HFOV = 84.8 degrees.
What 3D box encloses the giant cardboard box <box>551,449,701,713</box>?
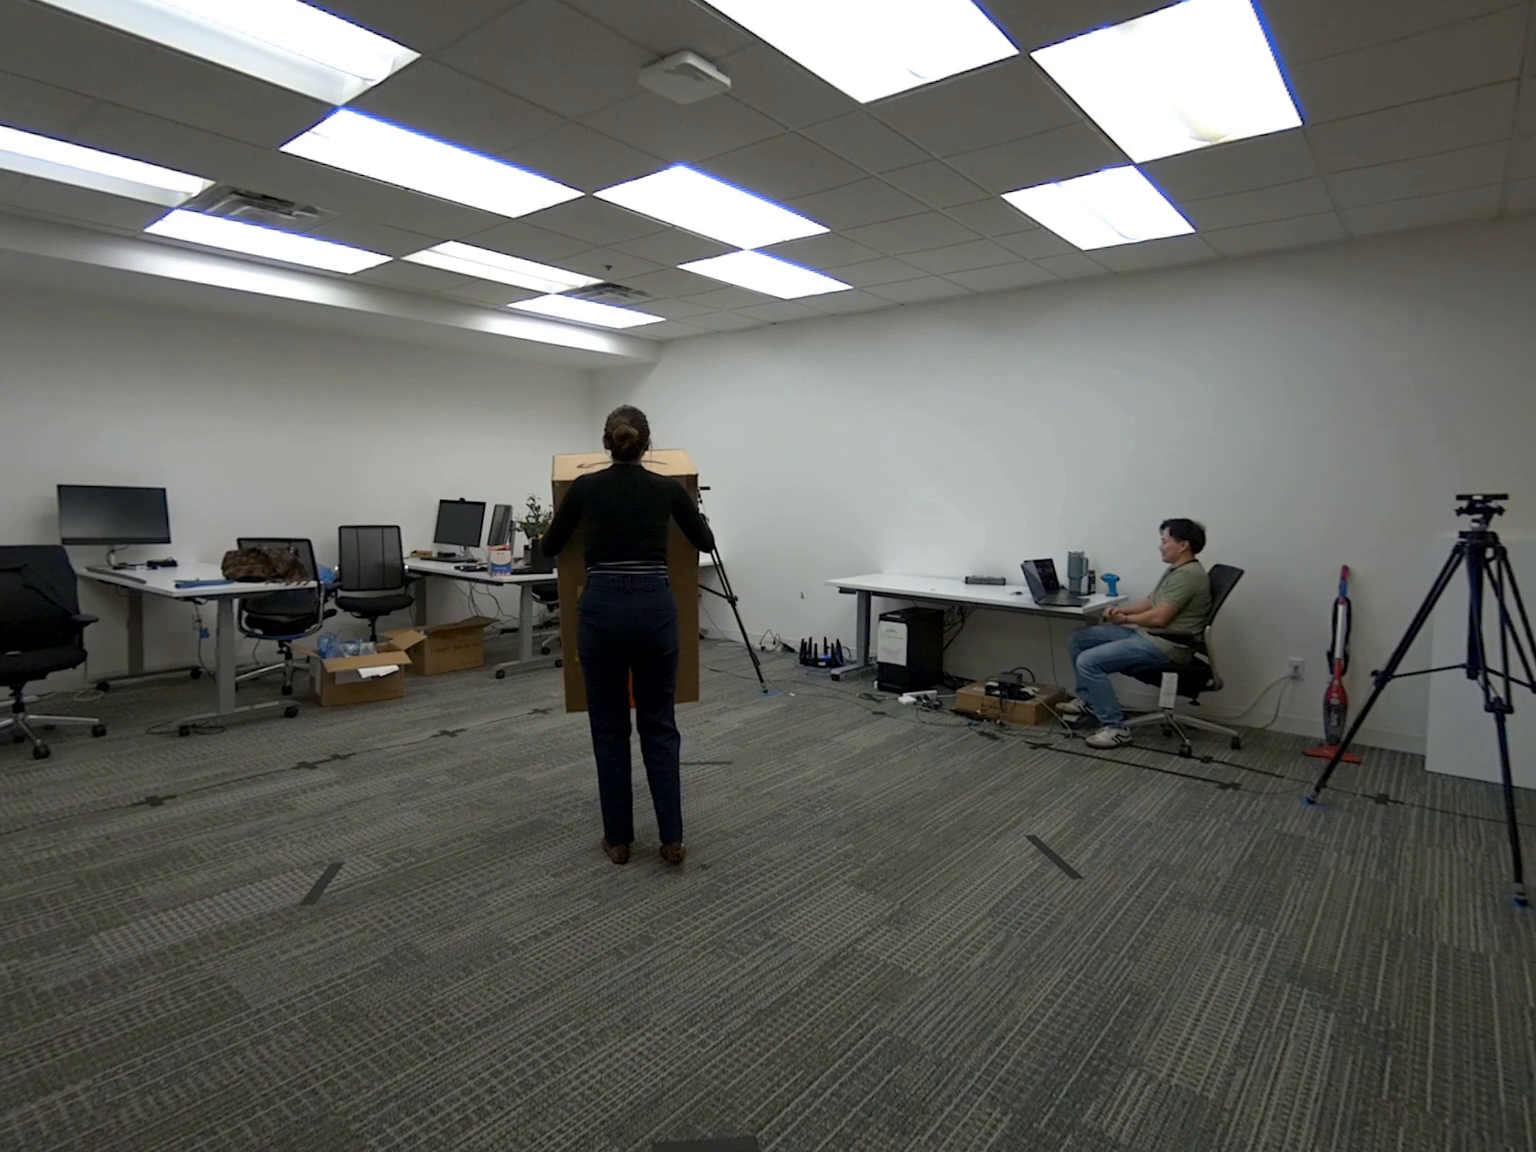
[{"bbox_3d":[-0.620,0.014,3.666,0.572,1.008,0.438,-3,20,-10],"label":"giant cardboard box"}]
